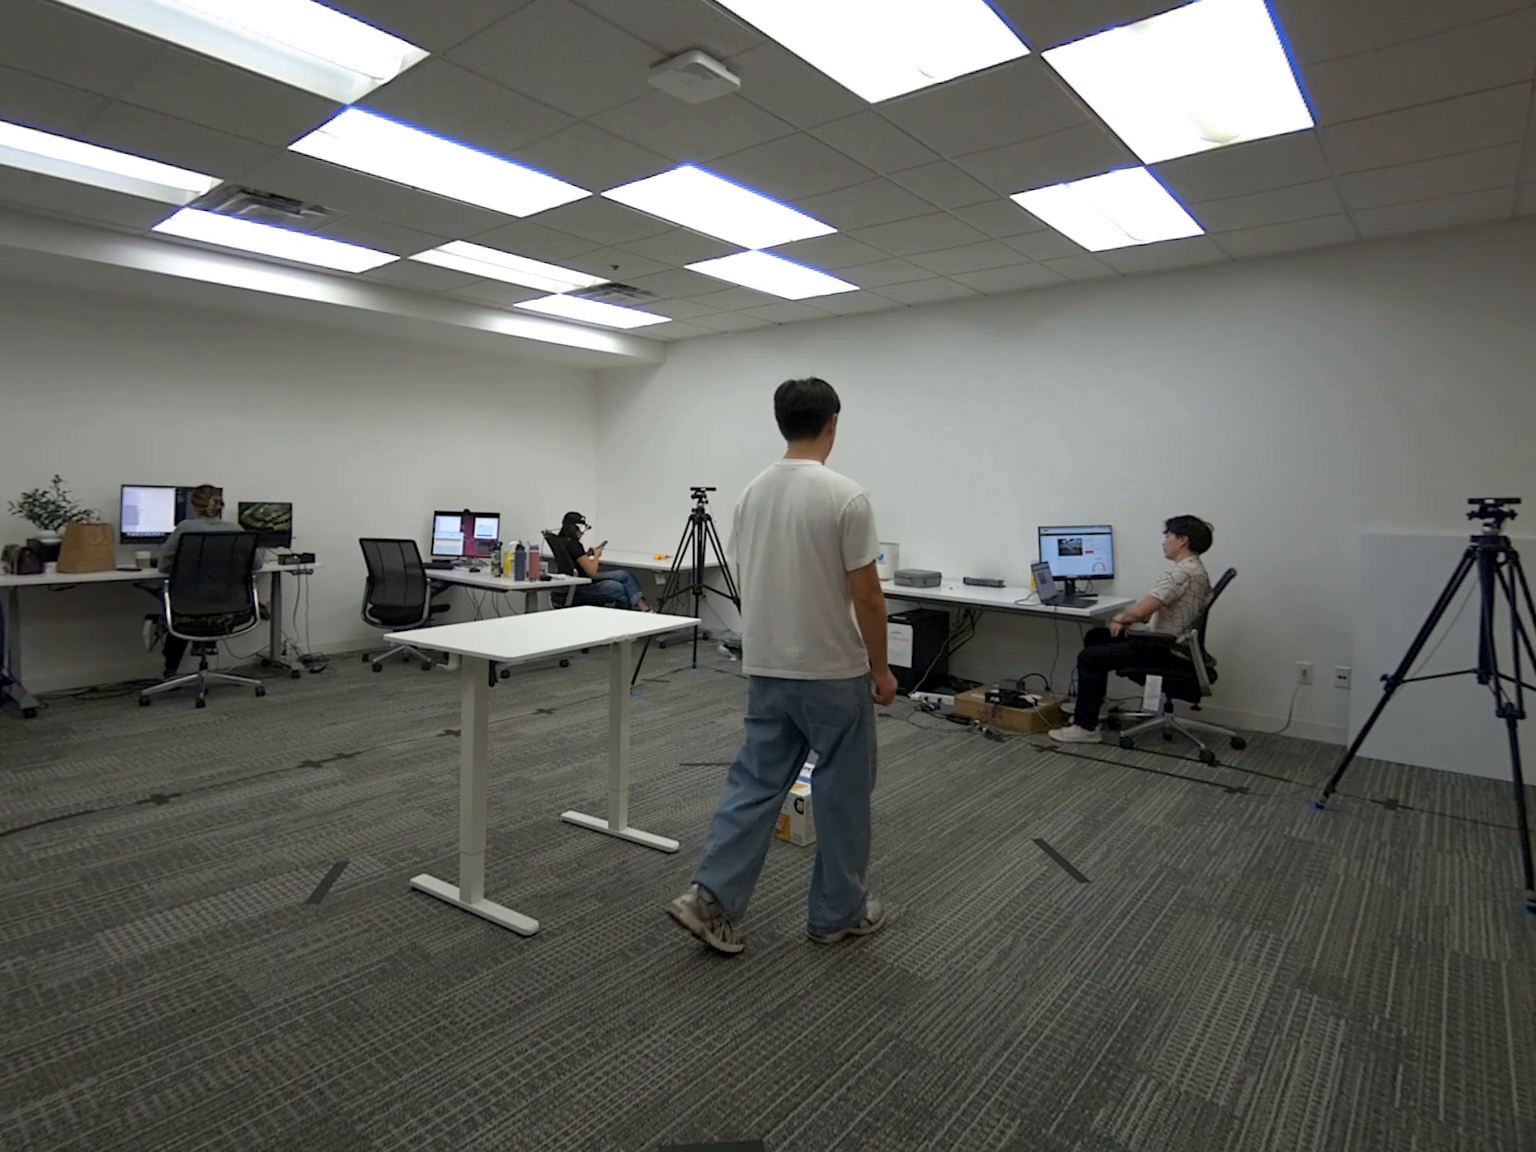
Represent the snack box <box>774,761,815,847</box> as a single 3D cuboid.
[{"bbox_3d":[0.089,0.926,3.552,0.419,0.205,0.330,5,6,43],"label":"snack box"}]
